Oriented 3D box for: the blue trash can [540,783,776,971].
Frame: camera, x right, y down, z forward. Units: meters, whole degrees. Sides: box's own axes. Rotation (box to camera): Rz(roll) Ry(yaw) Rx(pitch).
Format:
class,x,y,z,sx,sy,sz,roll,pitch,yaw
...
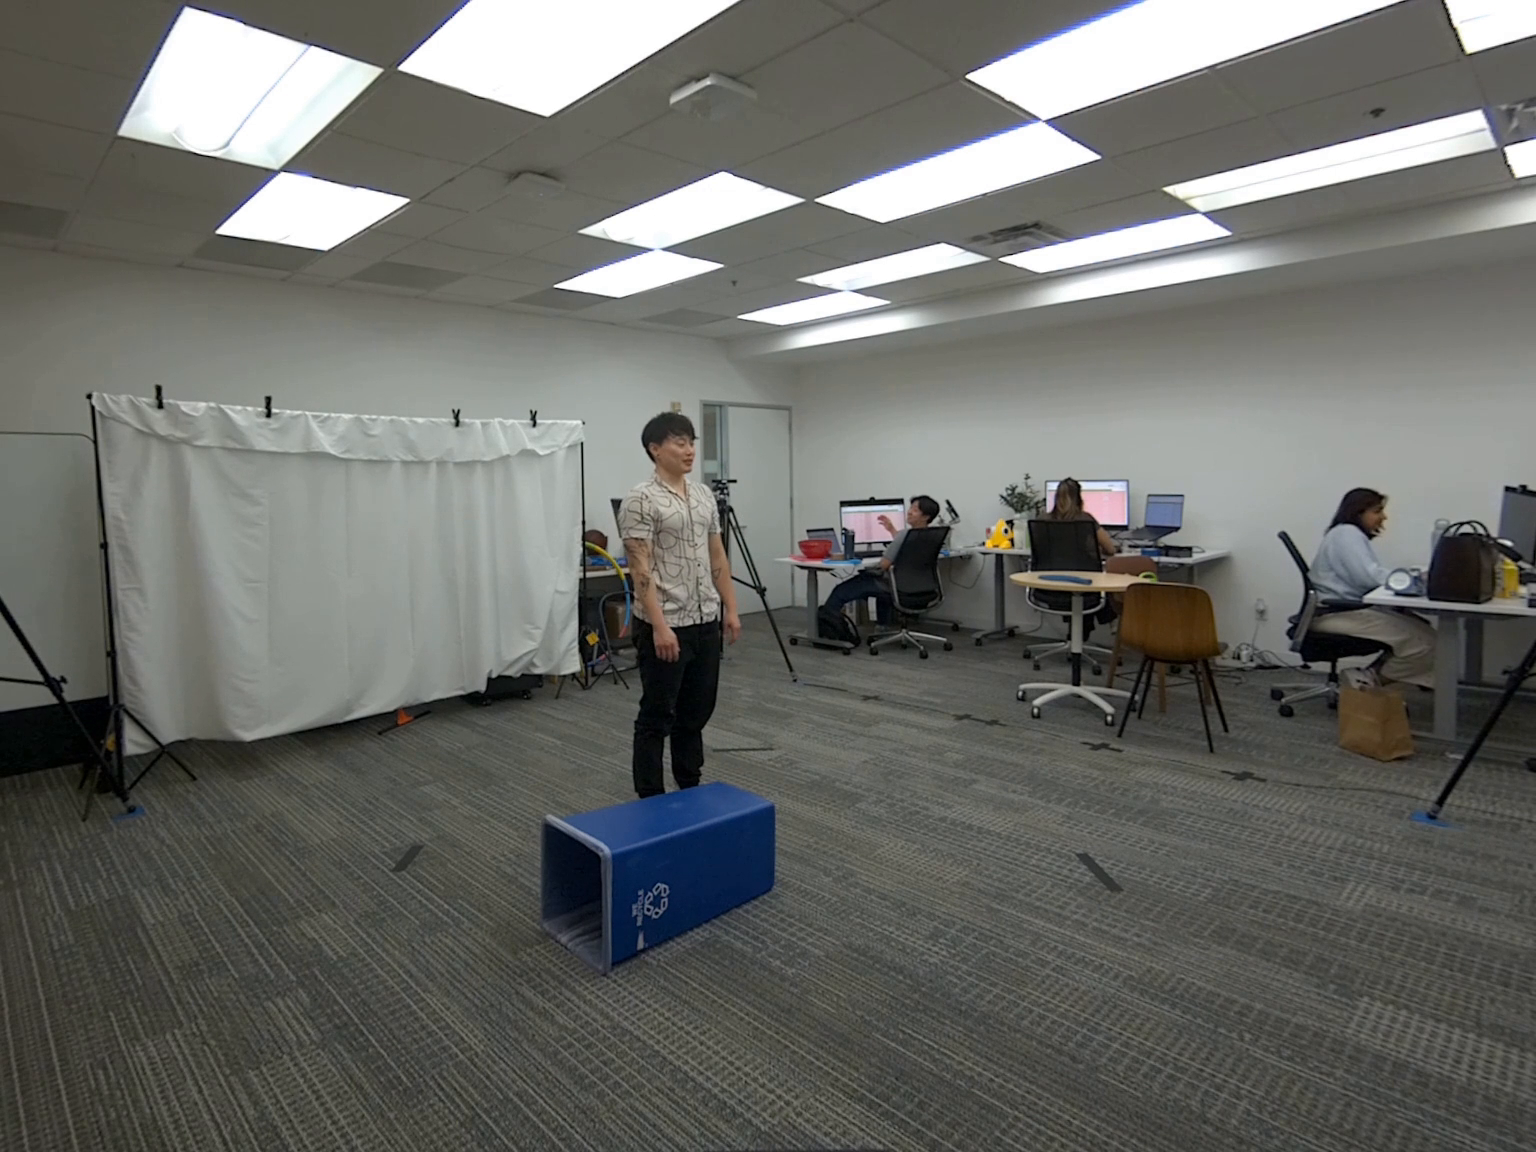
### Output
class,x,y,z,sx,sy,sz,roll,pitch,yaw
blue trash can,-0.327,0.921,2.775,0.694,0.377,0.385,-4,6,-42
